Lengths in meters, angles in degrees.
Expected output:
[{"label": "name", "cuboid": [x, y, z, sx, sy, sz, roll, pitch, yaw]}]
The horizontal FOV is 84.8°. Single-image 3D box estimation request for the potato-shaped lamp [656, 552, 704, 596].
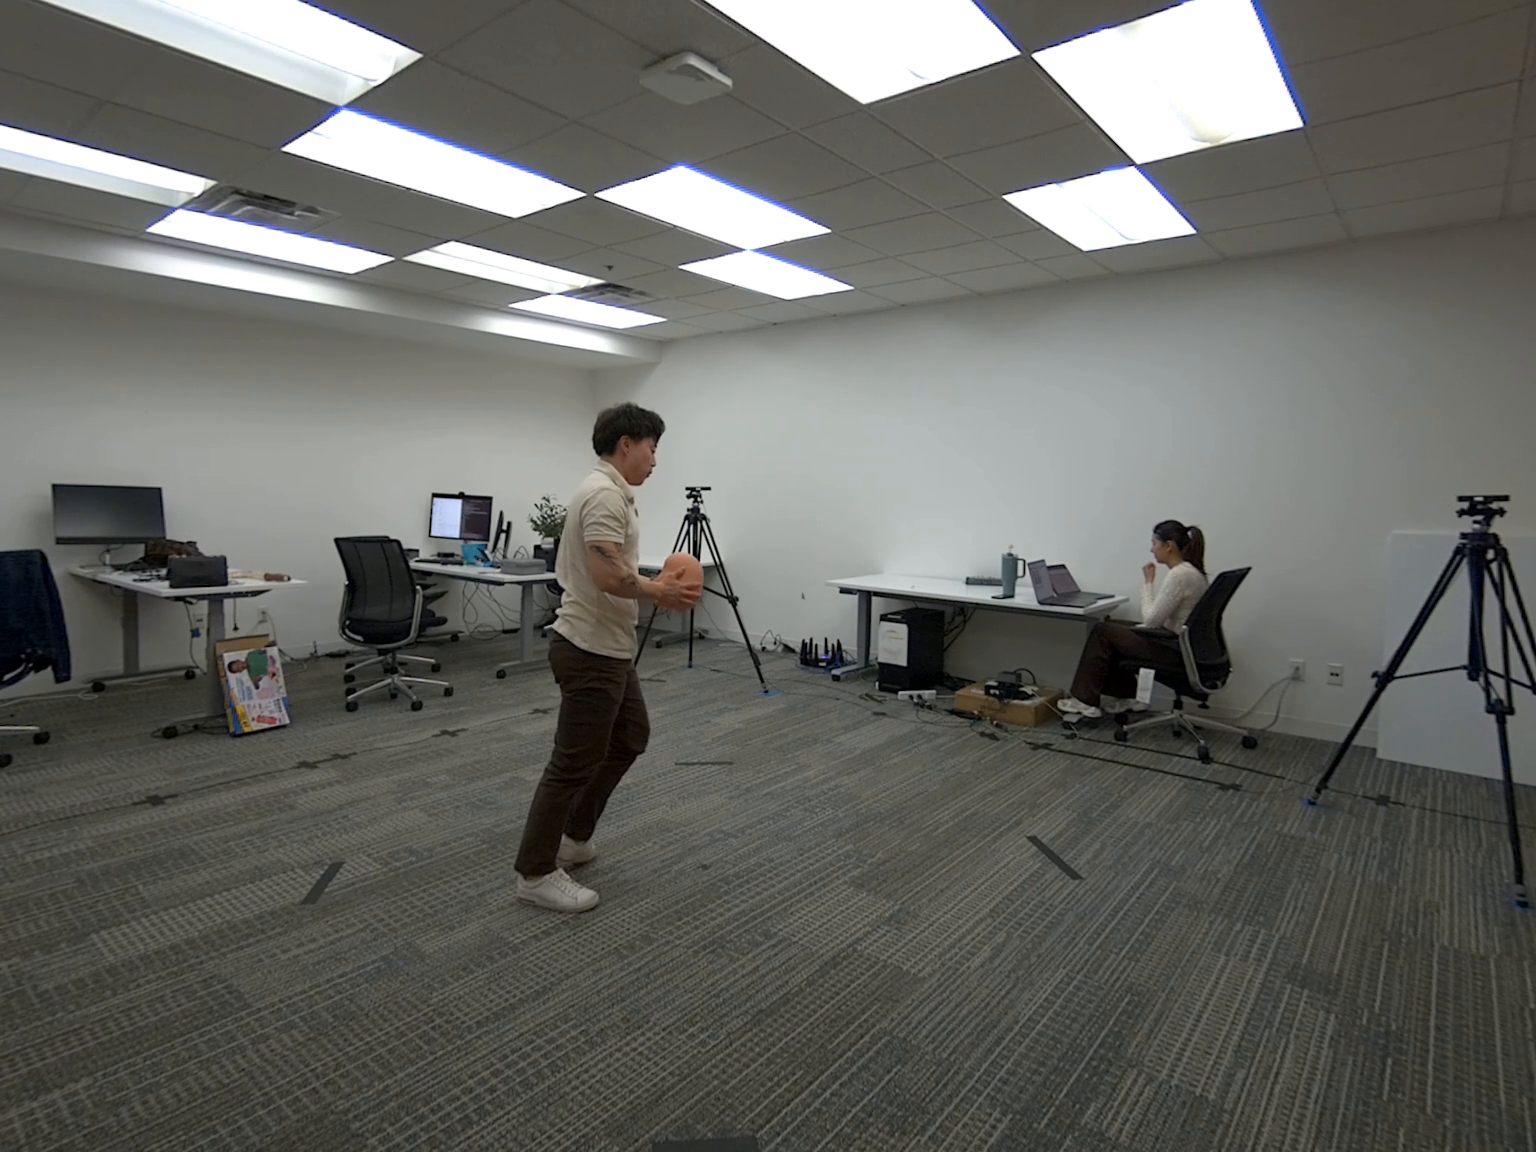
[{"label": "potato-shaped lamp", "cuboid": [-0.315, 0.016, 2.939, 0.170, 0.198, 0.166, 9, 1, -6]}]
